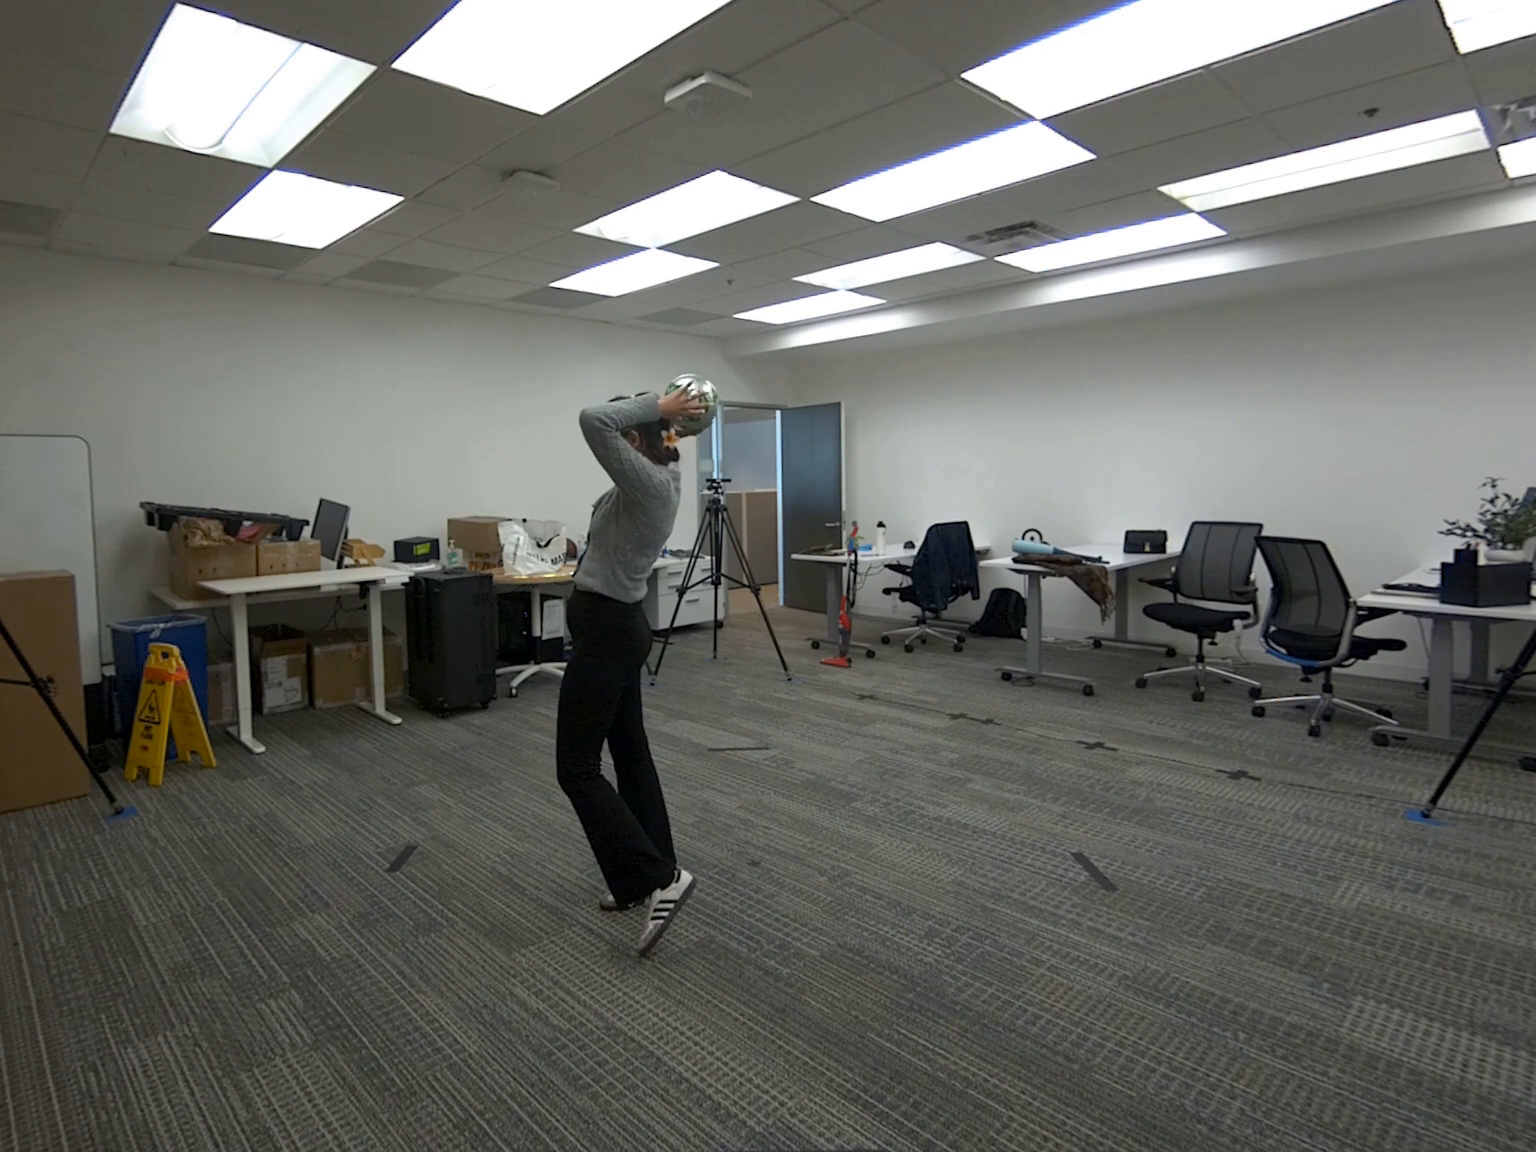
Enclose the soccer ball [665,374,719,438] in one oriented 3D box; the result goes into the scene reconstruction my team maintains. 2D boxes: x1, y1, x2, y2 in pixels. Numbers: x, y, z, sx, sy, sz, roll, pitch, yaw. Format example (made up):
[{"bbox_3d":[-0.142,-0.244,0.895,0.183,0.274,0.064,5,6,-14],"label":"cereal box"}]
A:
[{"bbox_3d":[-0.265,-0.578,2.866,0.187,0.187,0.188,-1,5,-2],"label":"soccer ball"}]
